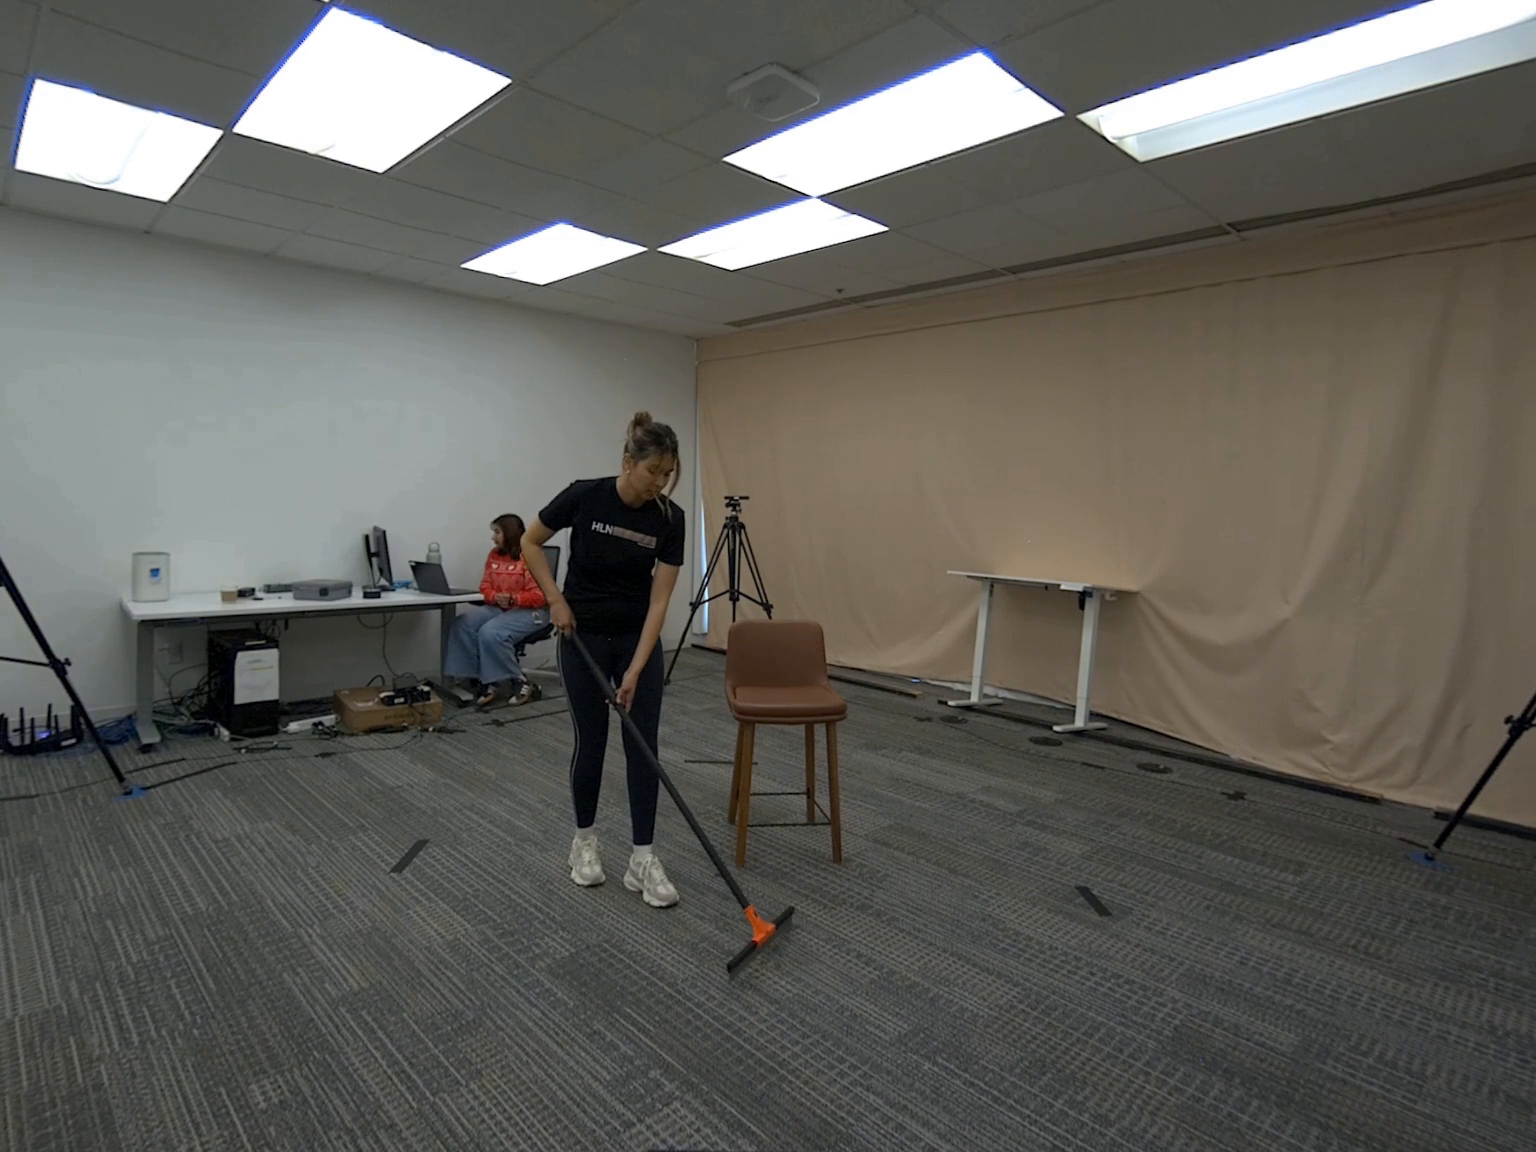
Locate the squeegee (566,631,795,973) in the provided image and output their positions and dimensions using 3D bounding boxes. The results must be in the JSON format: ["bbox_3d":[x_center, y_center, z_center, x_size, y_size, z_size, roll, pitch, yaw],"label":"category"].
[{"bbox_3d":[-0.435,0.518,2.771,0.053,1.565,0.429,-43,-18,20],"label":"squeegee"}]
